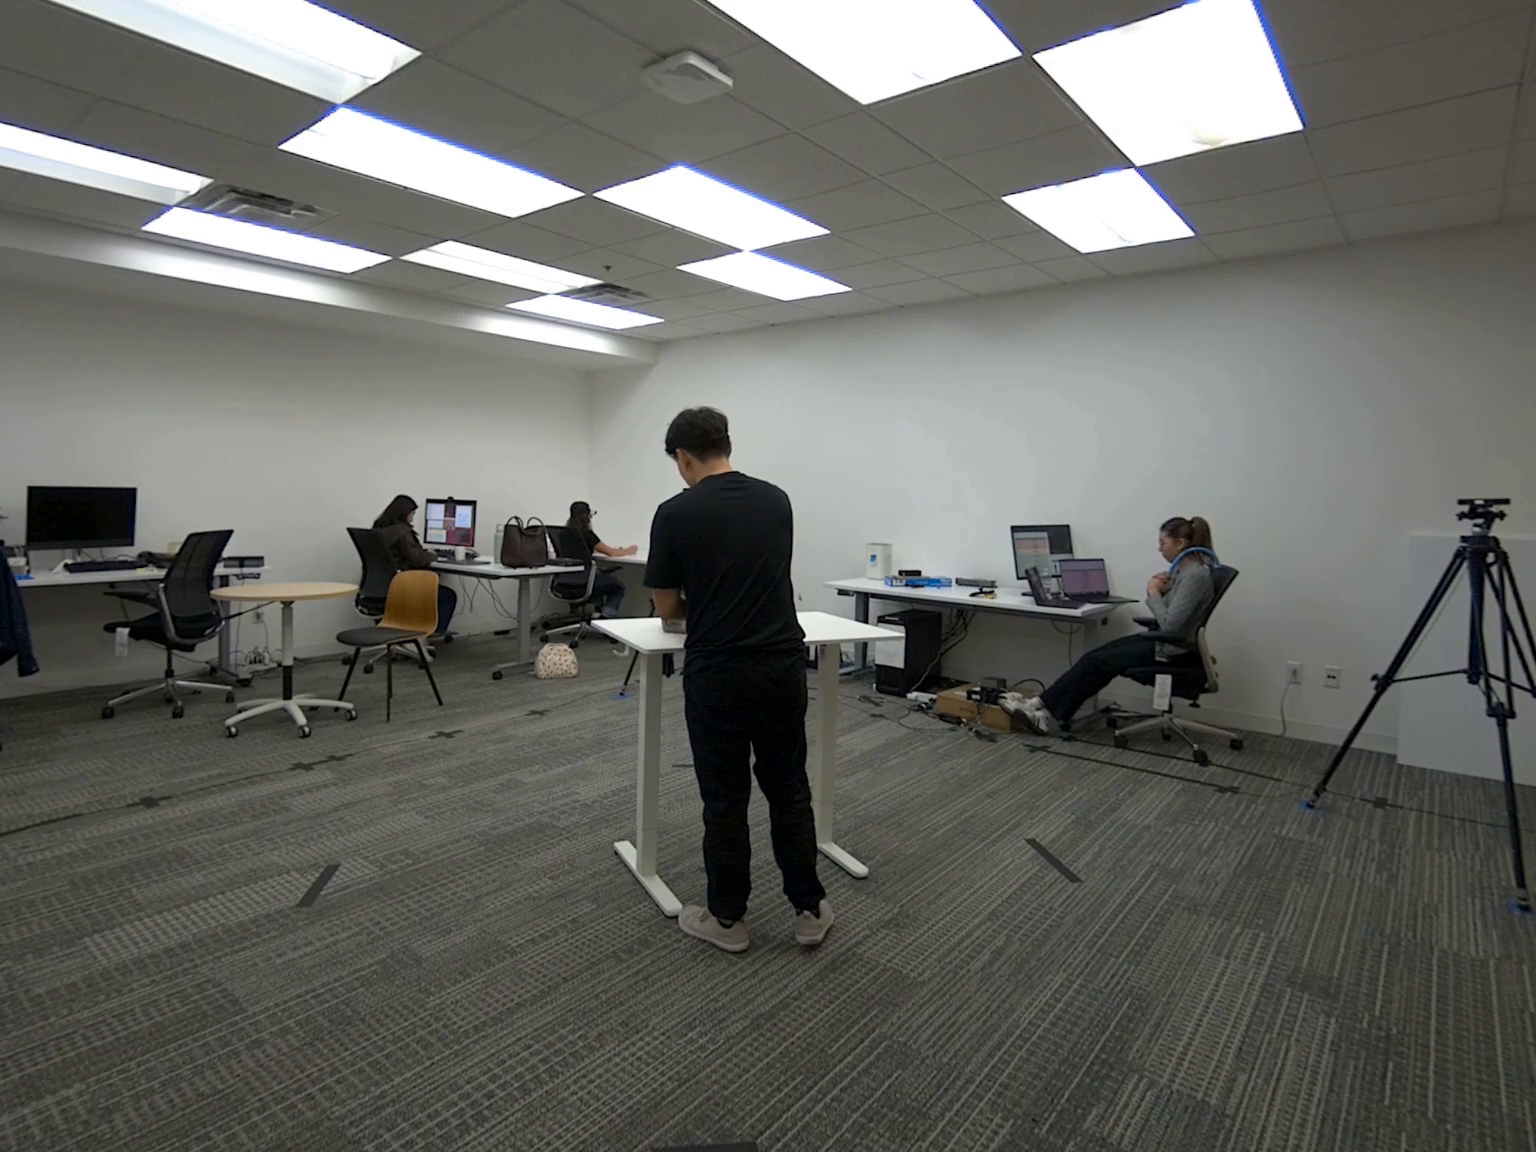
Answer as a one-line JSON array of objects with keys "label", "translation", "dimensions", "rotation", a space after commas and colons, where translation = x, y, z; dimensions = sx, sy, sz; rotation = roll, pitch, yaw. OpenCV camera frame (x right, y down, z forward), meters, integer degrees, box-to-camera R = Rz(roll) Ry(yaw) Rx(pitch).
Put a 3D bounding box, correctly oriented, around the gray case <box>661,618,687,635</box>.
[{"label": "gray case", "translation": [-0.240, 0.140, 3.040], "dimensions": [0.266, 0.104, 0.253], "rotation": [2, 6, 19]}]
